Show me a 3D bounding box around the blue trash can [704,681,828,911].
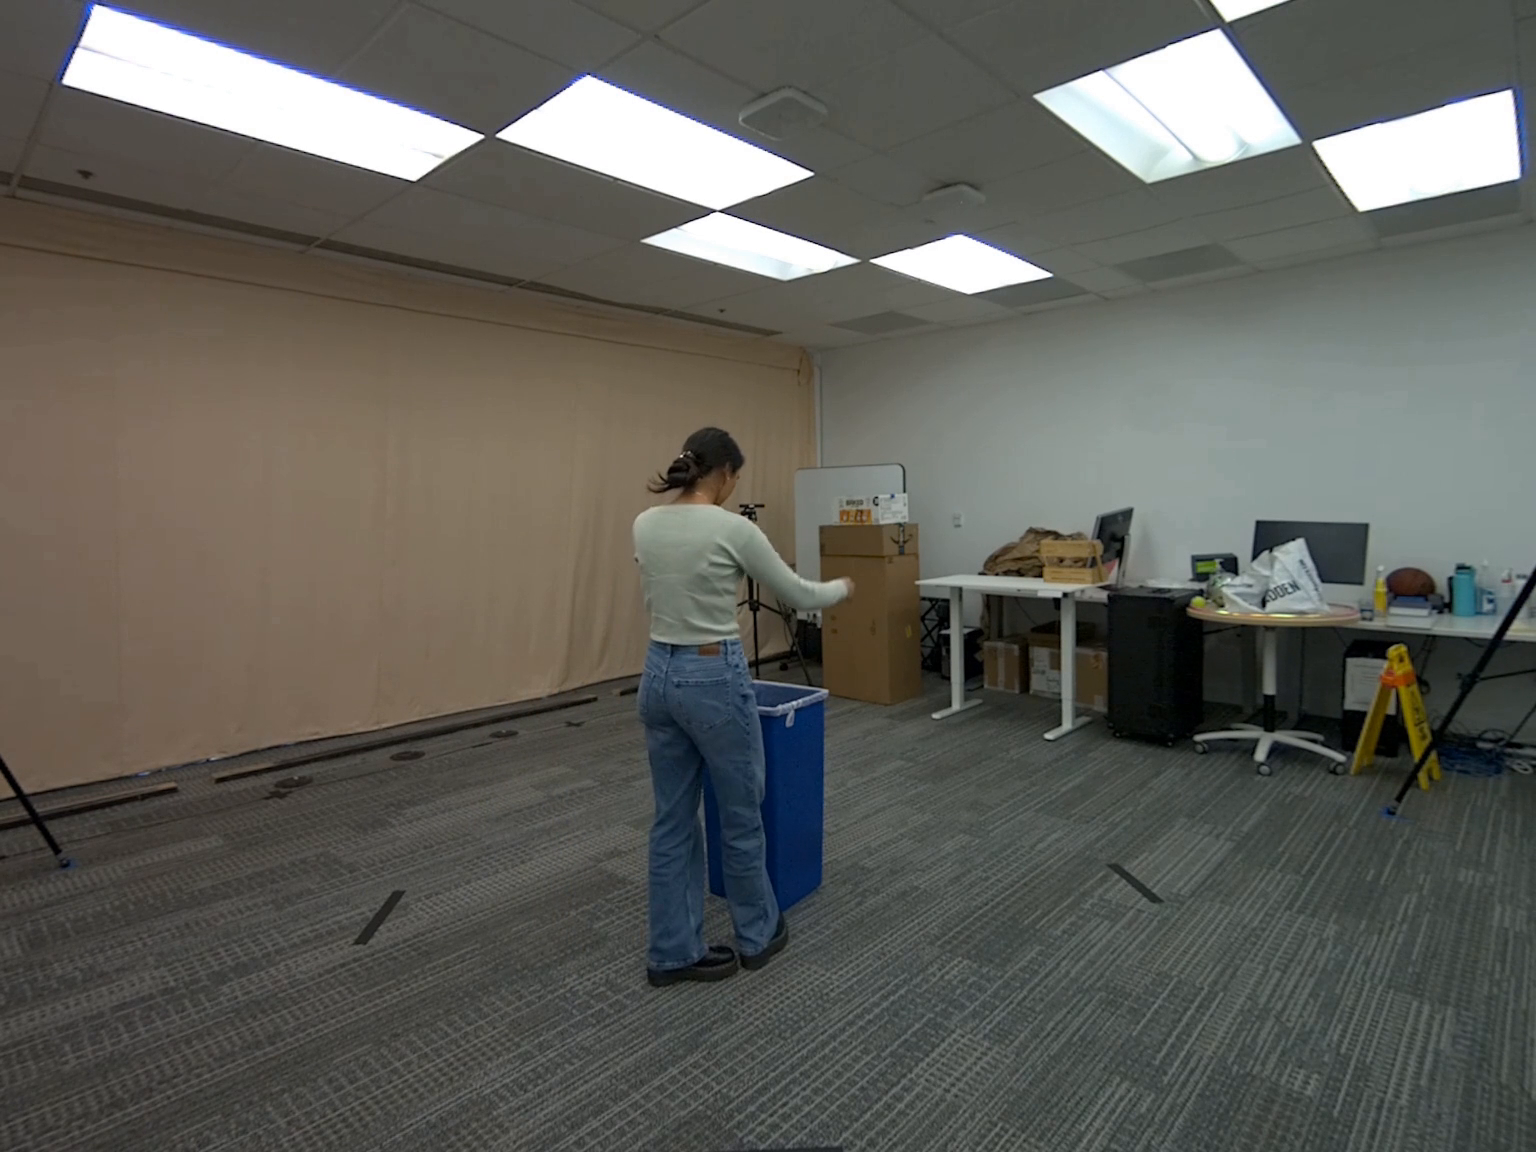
[{"bbox_3d":[-0.020,0.774,3.034,0.386,0.712,0.367,2,4,37],"label":"blue trash can"}]
